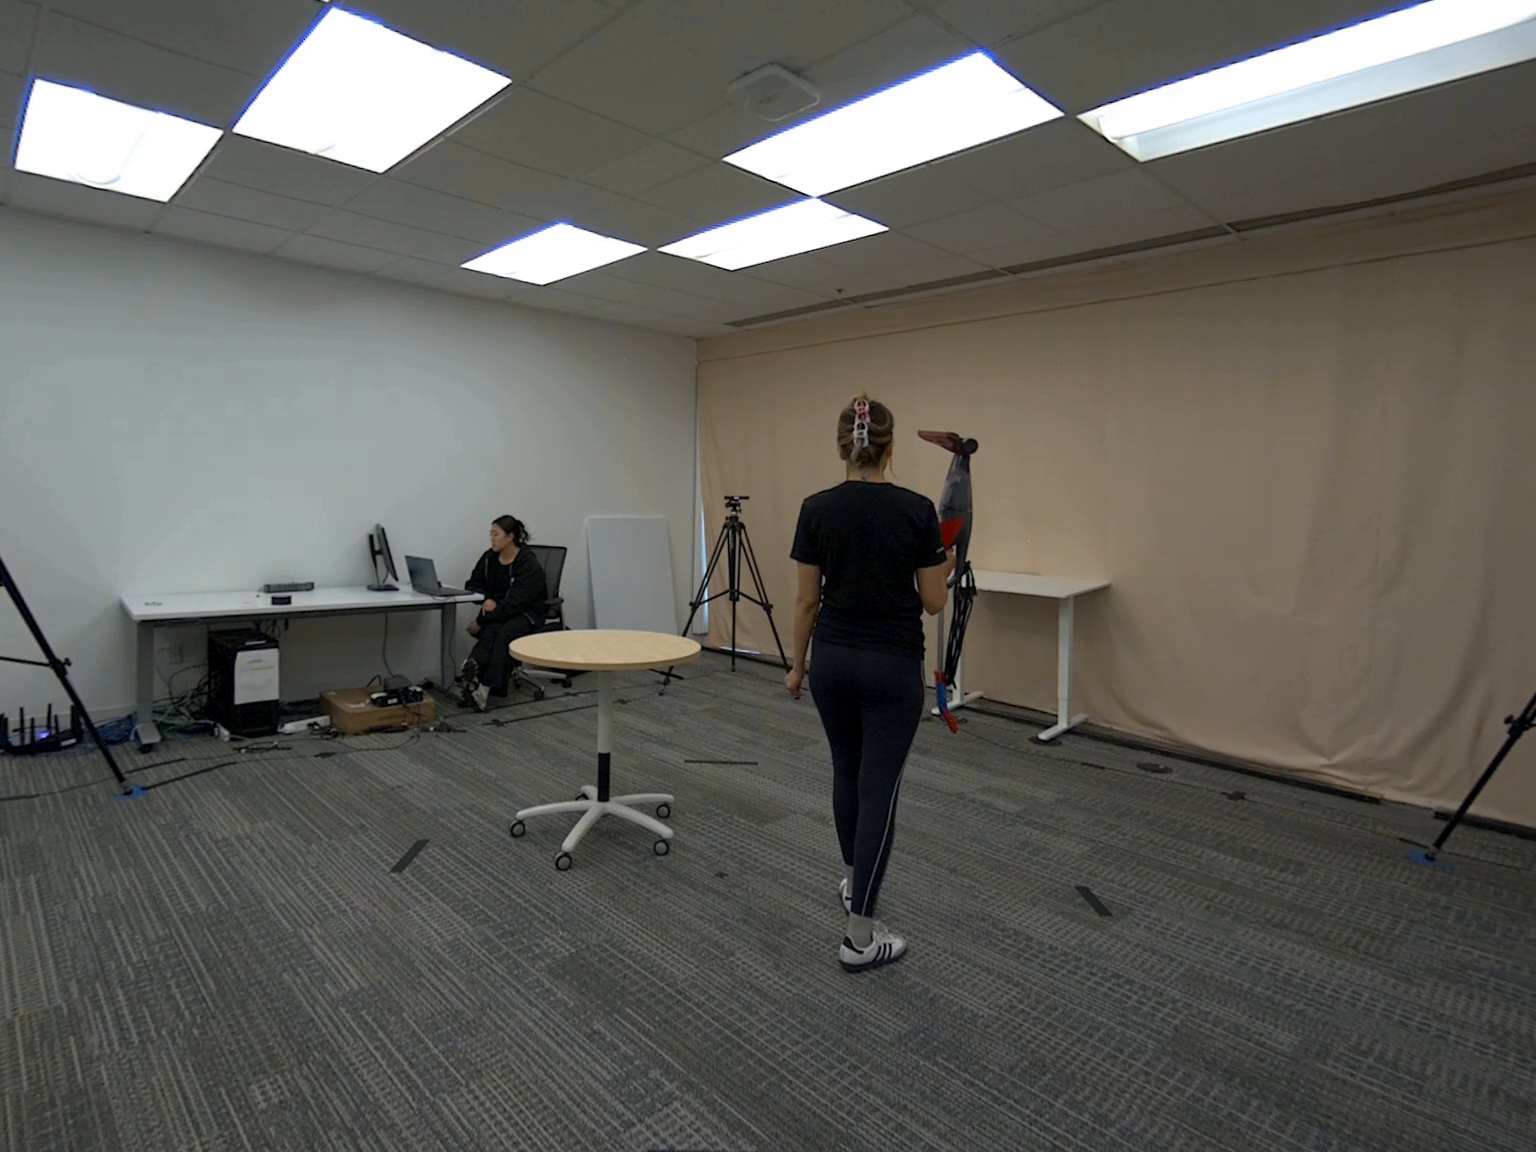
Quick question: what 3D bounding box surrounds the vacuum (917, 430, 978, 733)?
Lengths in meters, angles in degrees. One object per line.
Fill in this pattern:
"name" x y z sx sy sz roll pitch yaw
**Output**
"vacuum" 0.643 0.043 2.915 0.143 1.040 0.256 -5 11 -11
